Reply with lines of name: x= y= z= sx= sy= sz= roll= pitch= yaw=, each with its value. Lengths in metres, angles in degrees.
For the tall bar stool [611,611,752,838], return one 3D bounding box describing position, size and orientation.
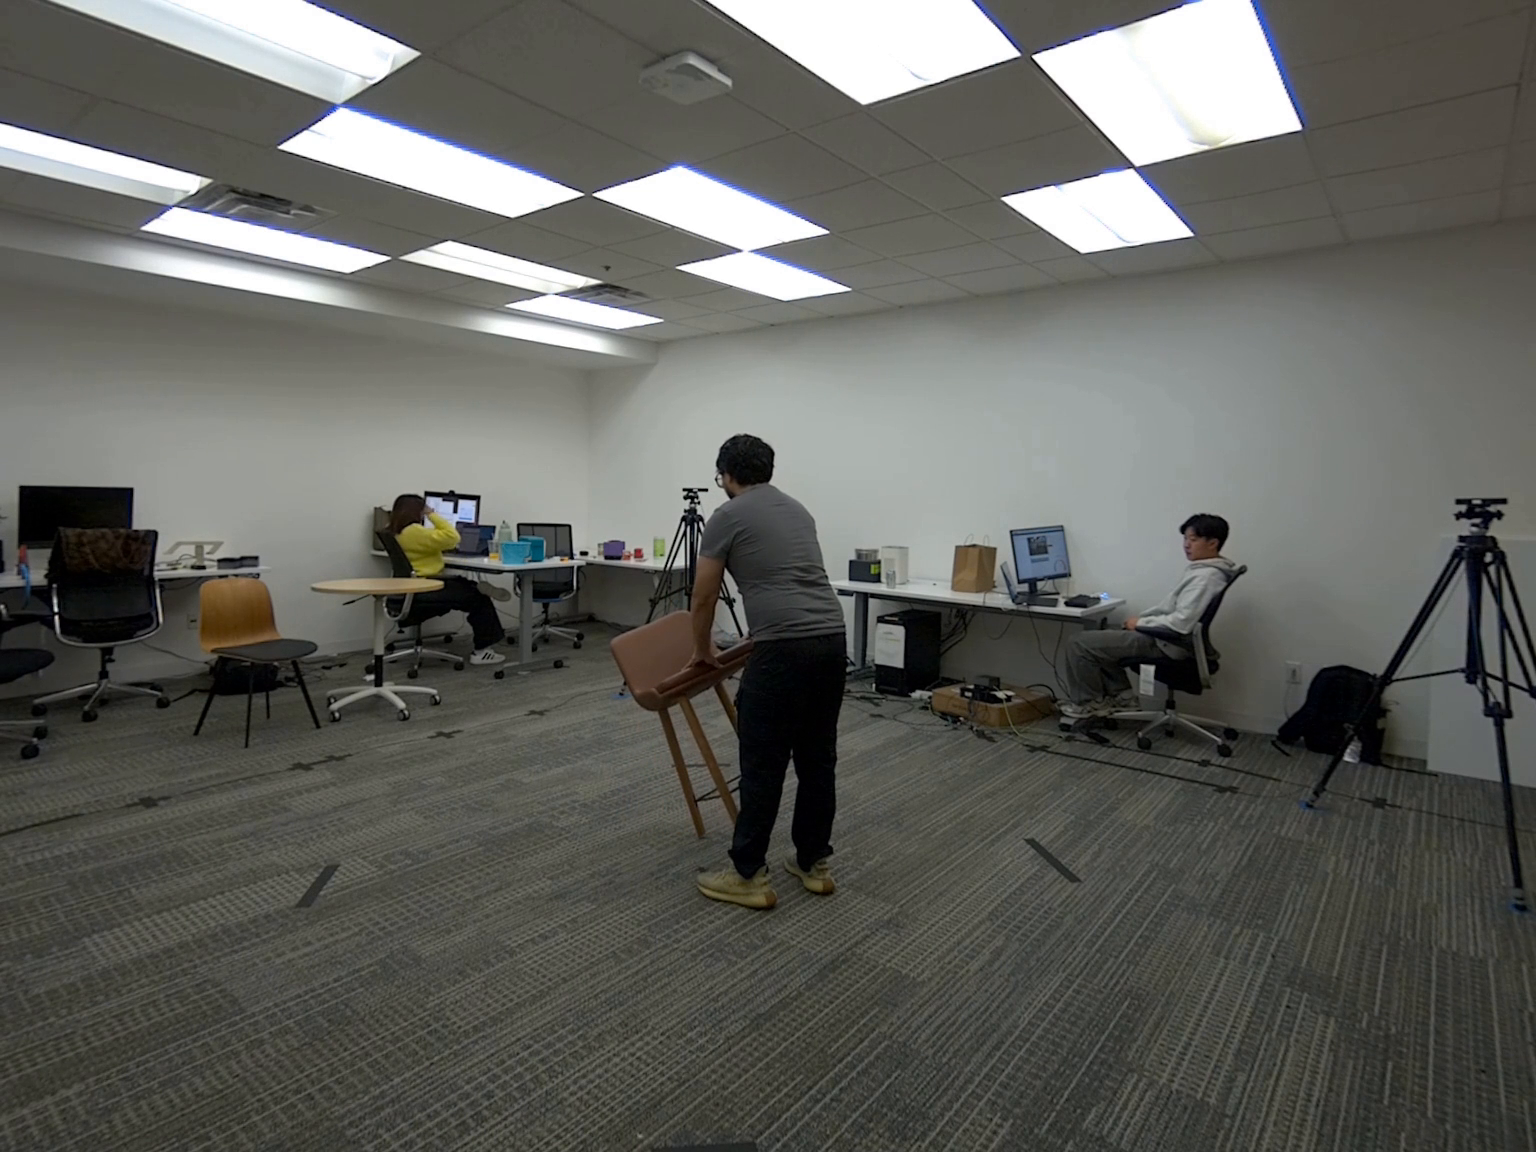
tall bar stool: x=-0.243 y=0.528 z=3.384 sx=0.449 sy=0.903 sz=0.469 roll=-21 pitch=-12 yaw=-30
